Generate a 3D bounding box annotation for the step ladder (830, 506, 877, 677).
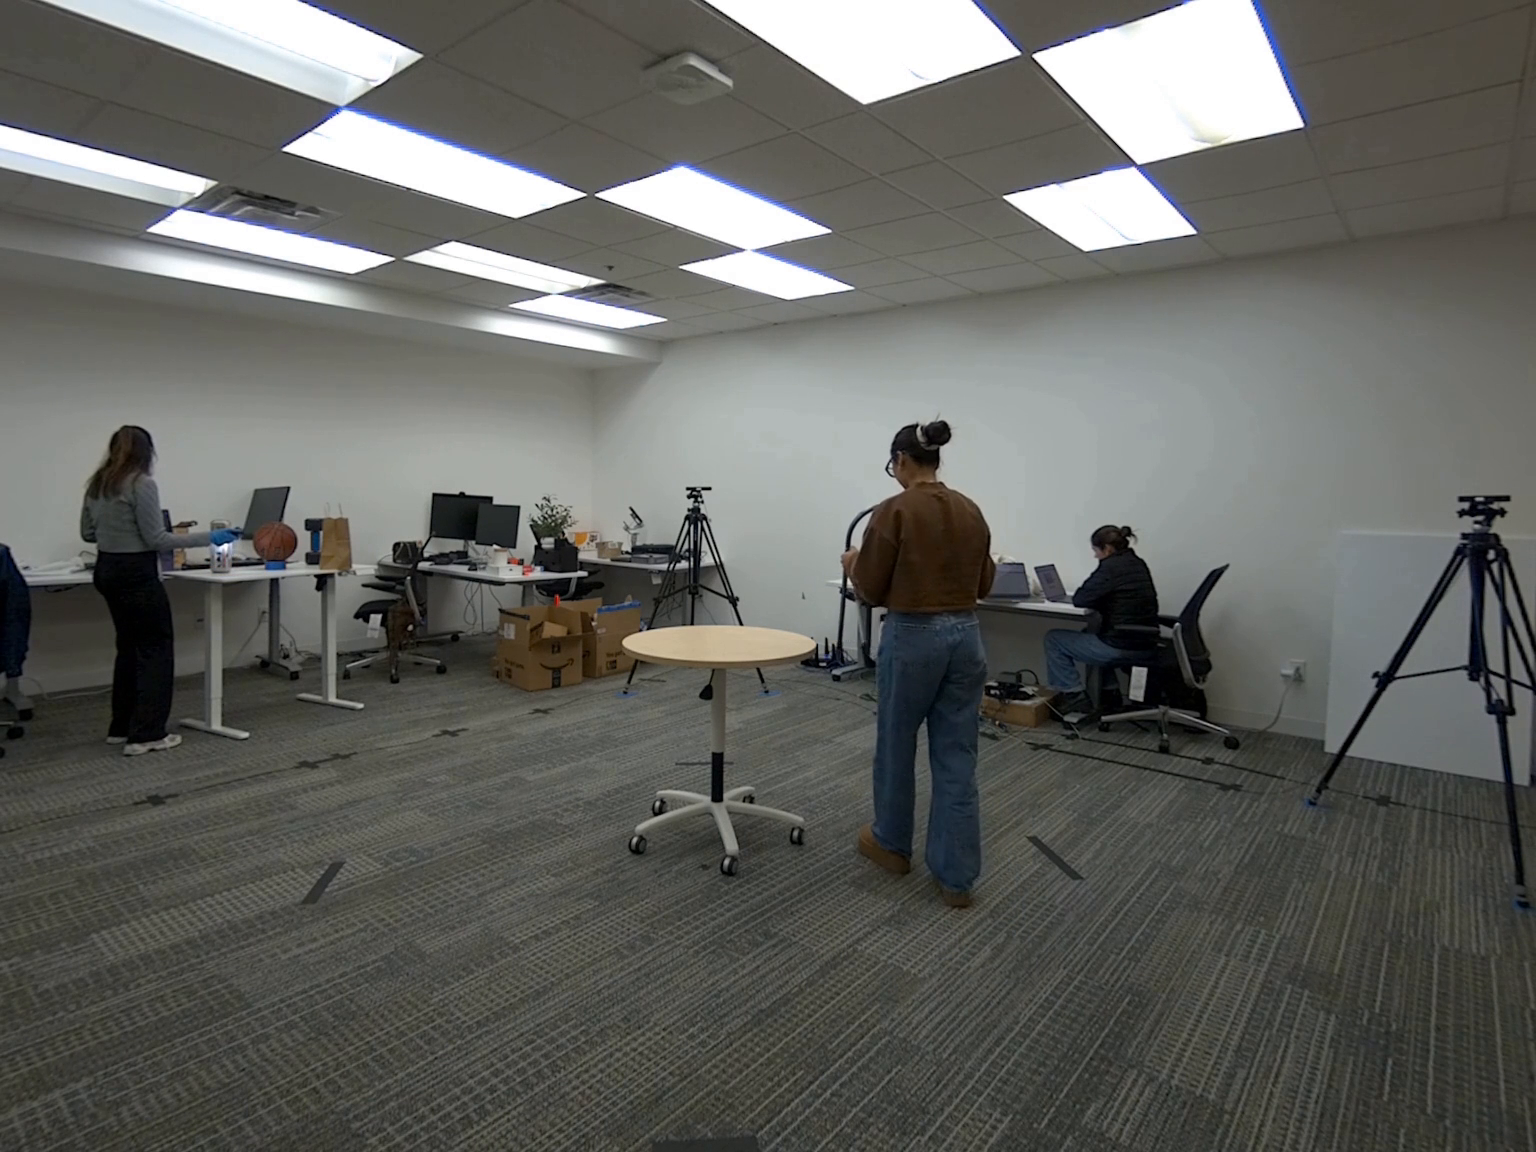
[{"bbox_3d":[0.490,0.002,3.339,0.425,0.602,0.357,-5,8,-14],"label":"step ladder"}]
